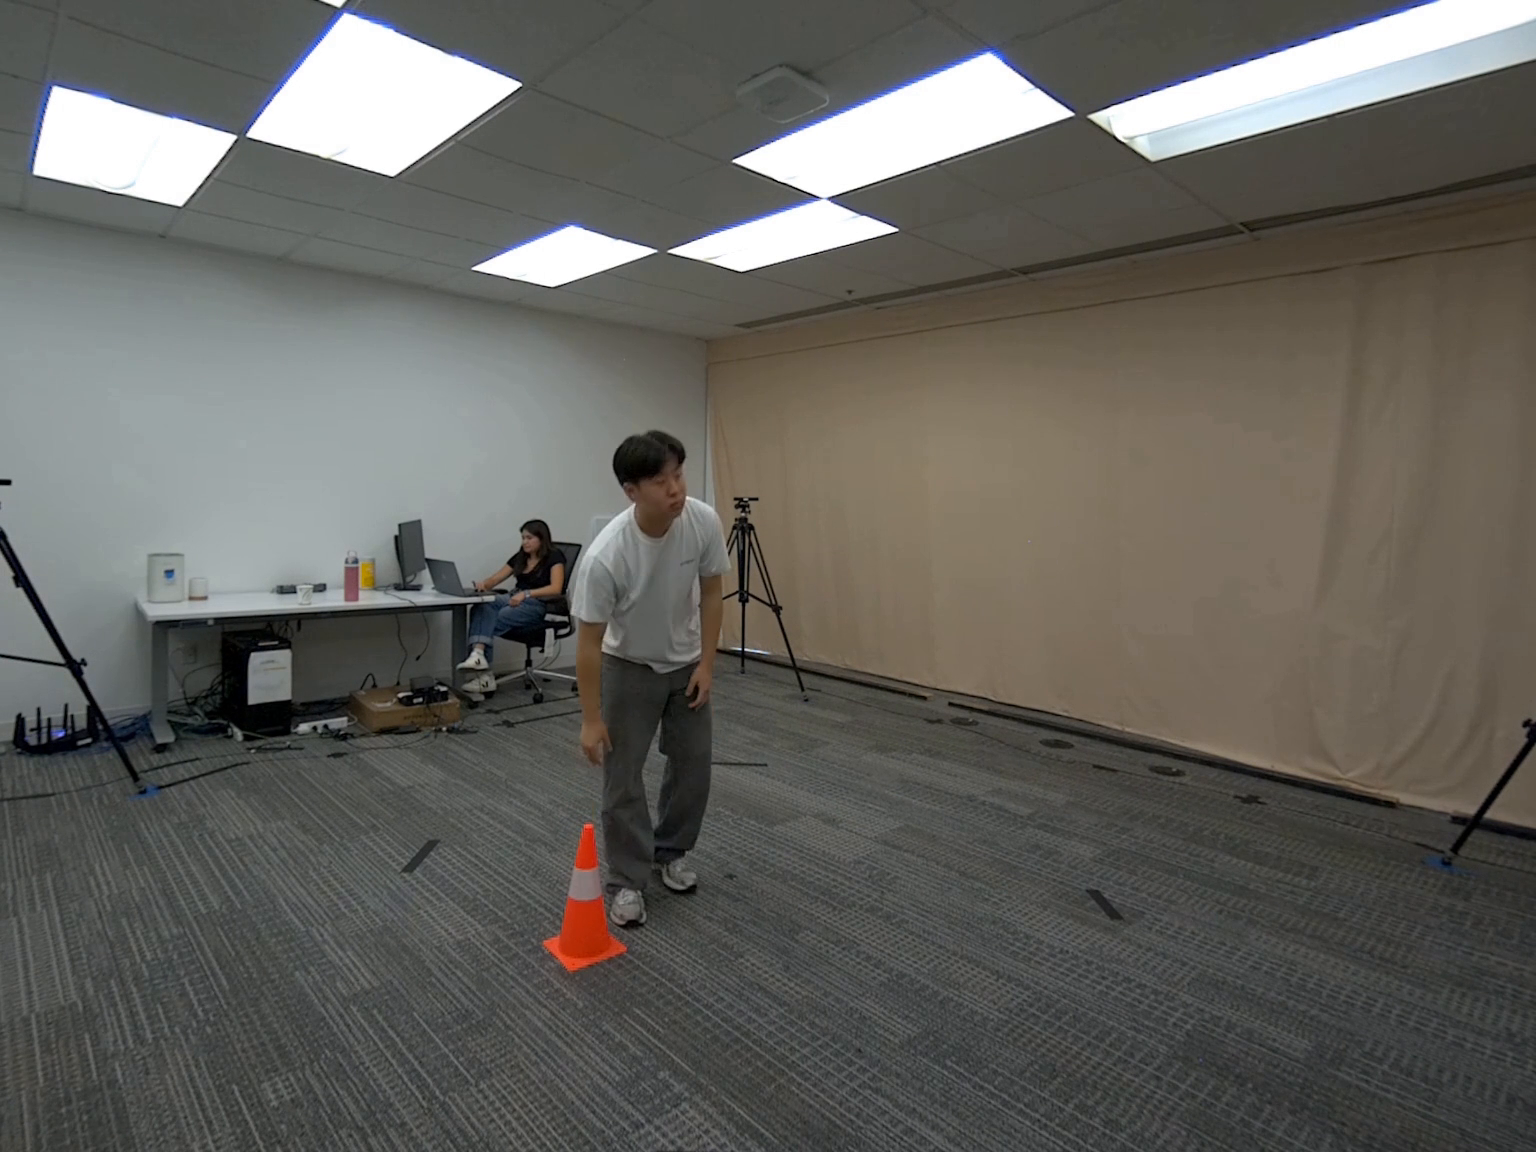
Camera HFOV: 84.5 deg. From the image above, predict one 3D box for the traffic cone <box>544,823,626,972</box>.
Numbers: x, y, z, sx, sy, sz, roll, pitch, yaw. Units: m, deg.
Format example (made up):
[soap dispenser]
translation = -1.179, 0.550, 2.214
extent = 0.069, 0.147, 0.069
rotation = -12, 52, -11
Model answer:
[traffic cone]
translation = -0.566, 0.966, 2.580
extent = 0.200, 0.383, 0.208
rotation = 0, 4, -32
